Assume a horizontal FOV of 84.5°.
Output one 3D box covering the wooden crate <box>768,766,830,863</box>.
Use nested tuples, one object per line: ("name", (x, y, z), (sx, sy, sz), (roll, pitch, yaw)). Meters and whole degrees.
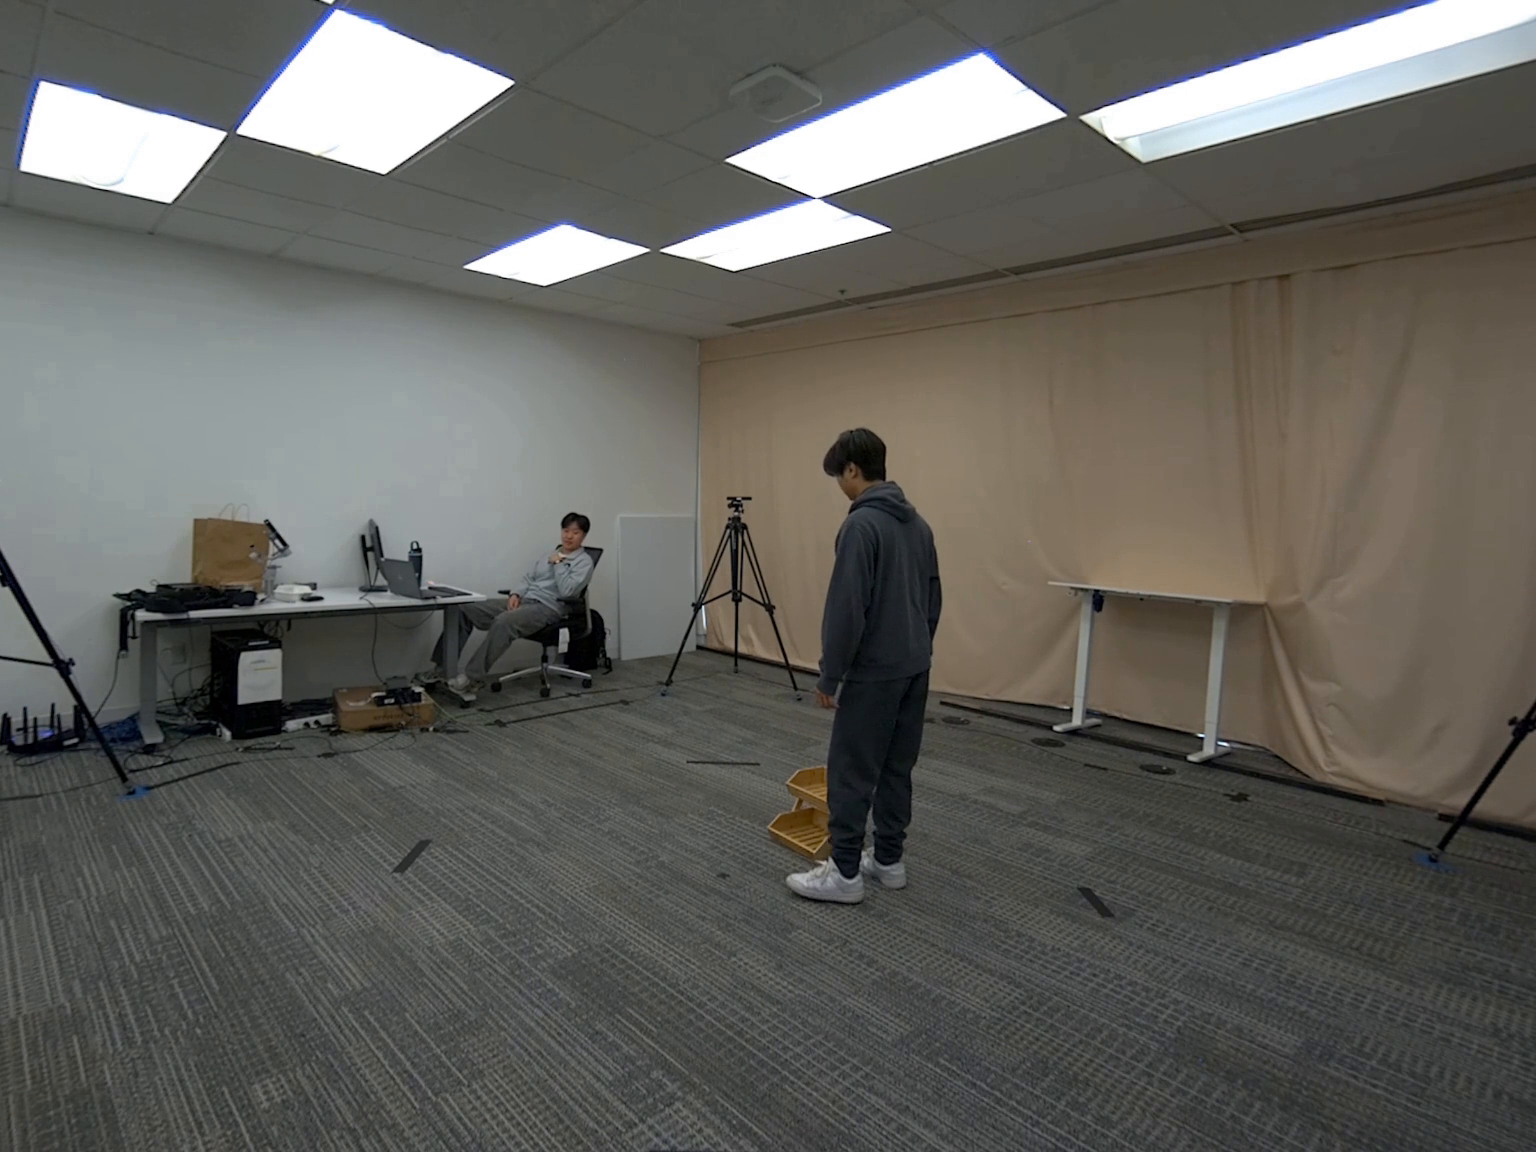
("wooden crate", (0.200, 0.953, 3.409), (0.295, 0.273, 0.332), (0, 4, -37))
